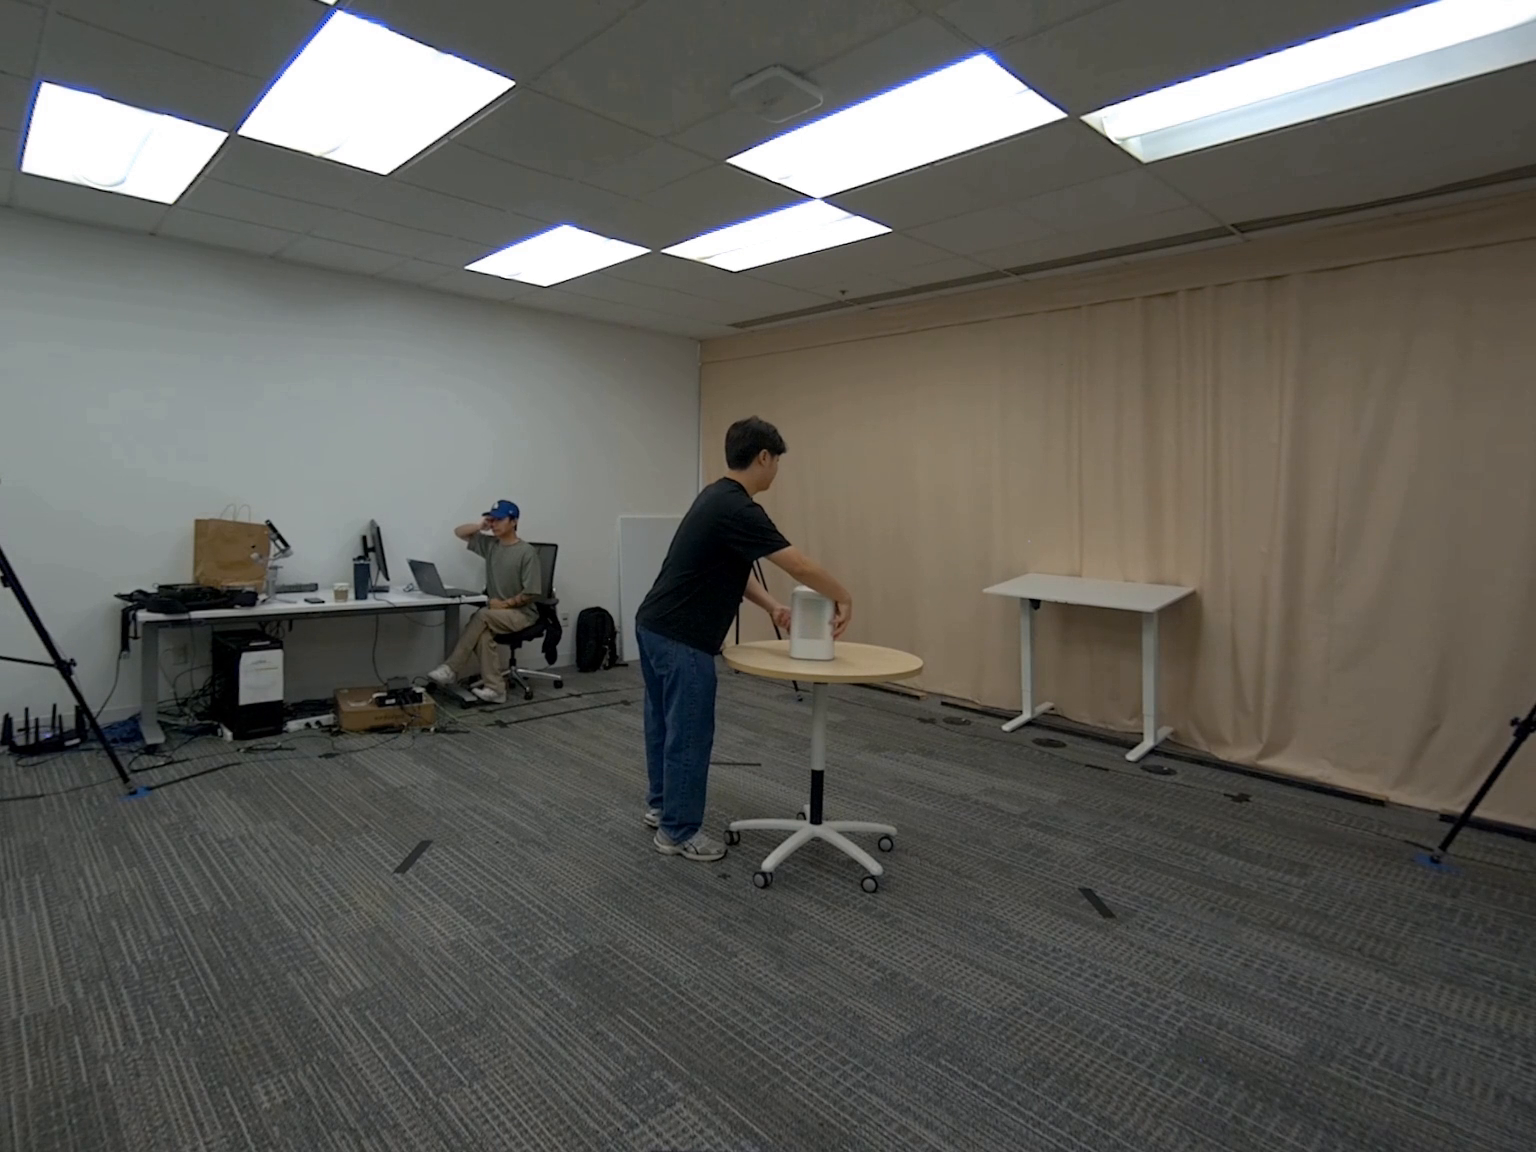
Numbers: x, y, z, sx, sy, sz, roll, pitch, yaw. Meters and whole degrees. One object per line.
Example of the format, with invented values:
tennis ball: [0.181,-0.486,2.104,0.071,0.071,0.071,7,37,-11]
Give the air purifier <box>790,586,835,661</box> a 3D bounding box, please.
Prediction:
air purifier: [0.157,0.173,3.218,0.173,0.264,0.170,0,5,9]
